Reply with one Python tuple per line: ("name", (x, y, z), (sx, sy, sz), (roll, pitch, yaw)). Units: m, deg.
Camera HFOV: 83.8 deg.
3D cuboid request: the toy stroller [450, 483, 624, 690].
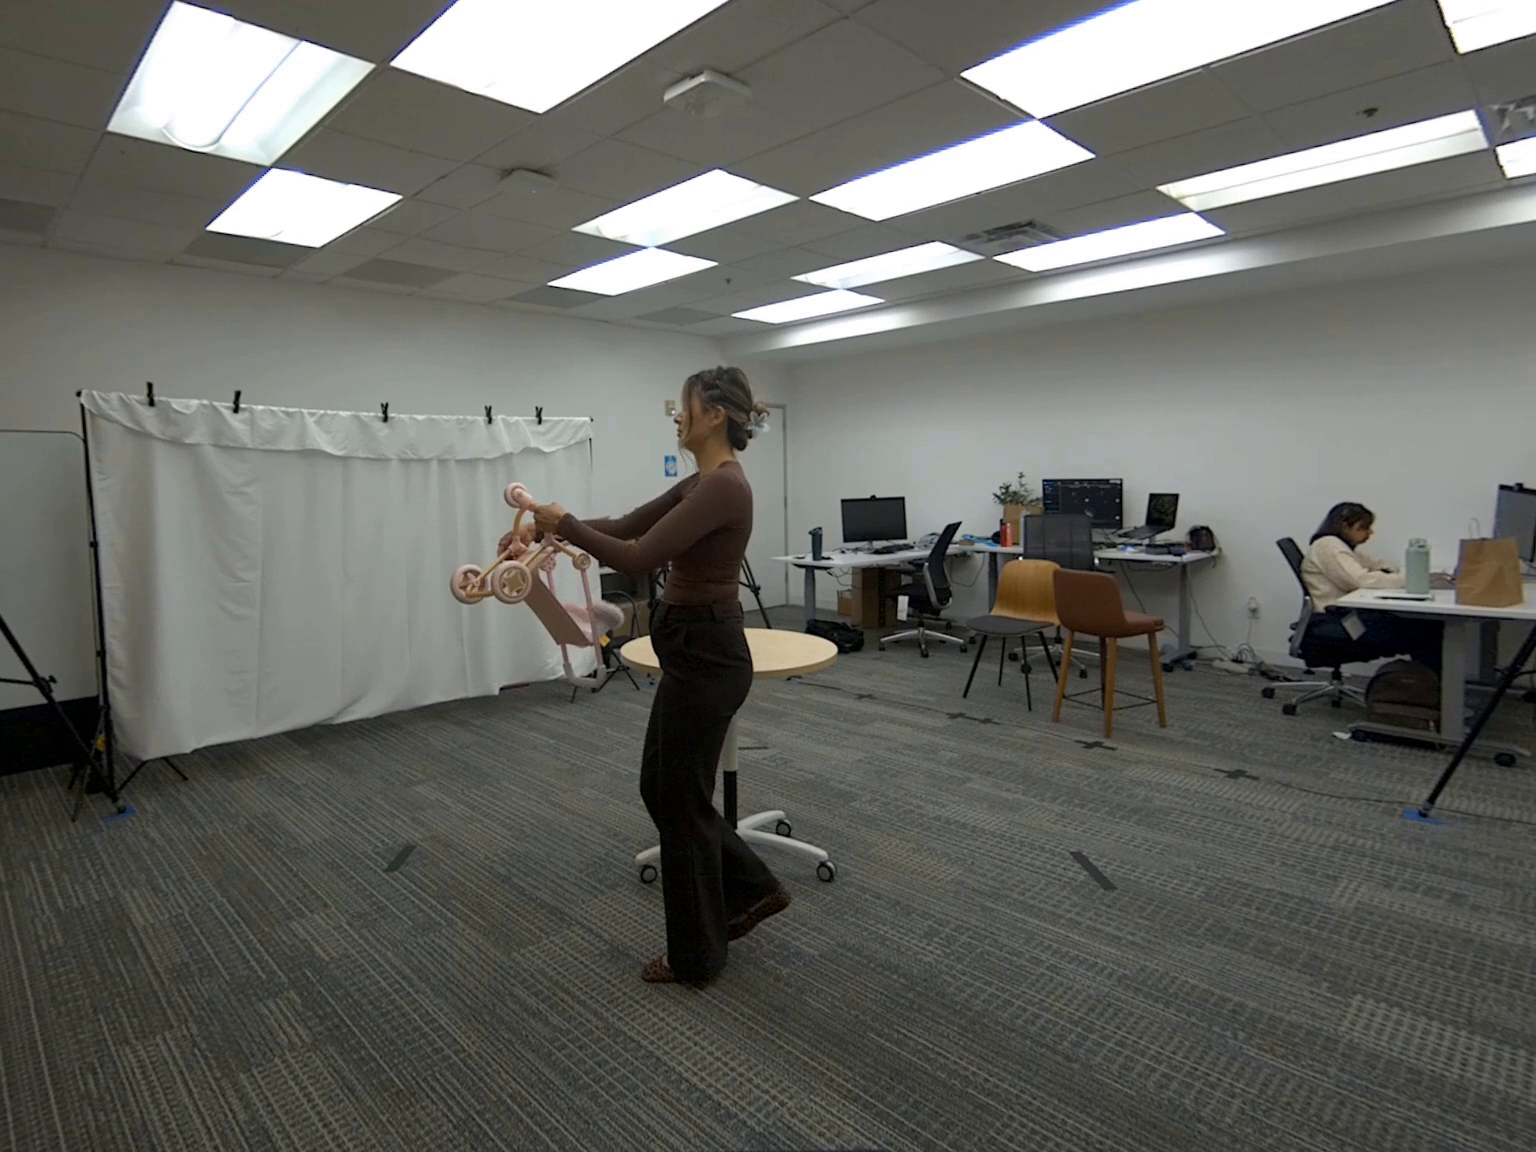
("toy stroller", (-0.608, 0.024, 2.384), (0.288, 0.344, 0.517), (-10, -47, 45))
